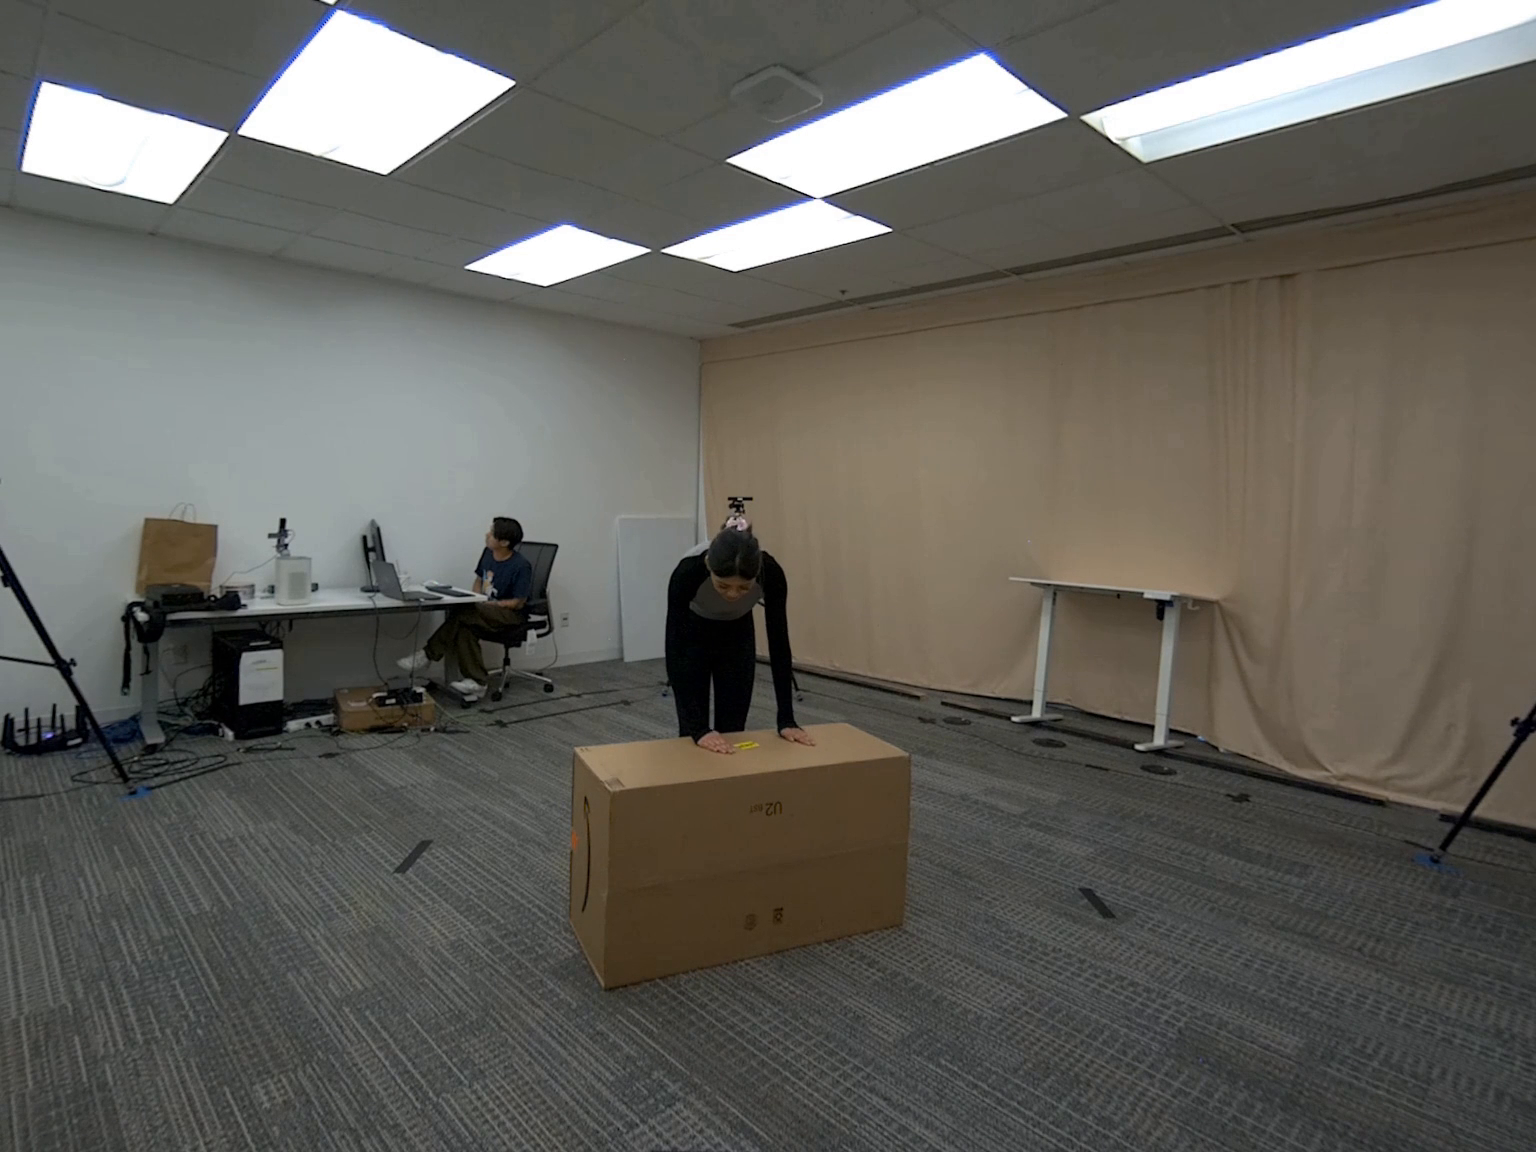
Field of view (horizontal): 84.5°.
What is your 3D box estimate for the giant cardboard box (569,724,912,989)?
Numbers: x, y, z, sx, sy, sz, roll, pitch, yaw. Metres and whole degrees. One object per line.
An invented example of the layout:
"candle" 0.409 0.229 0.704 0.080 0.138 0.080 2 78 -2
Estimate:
"giant cardboard box" -0.092 0.855 2.741 1.008 0.576 0.435 0 4 -24
